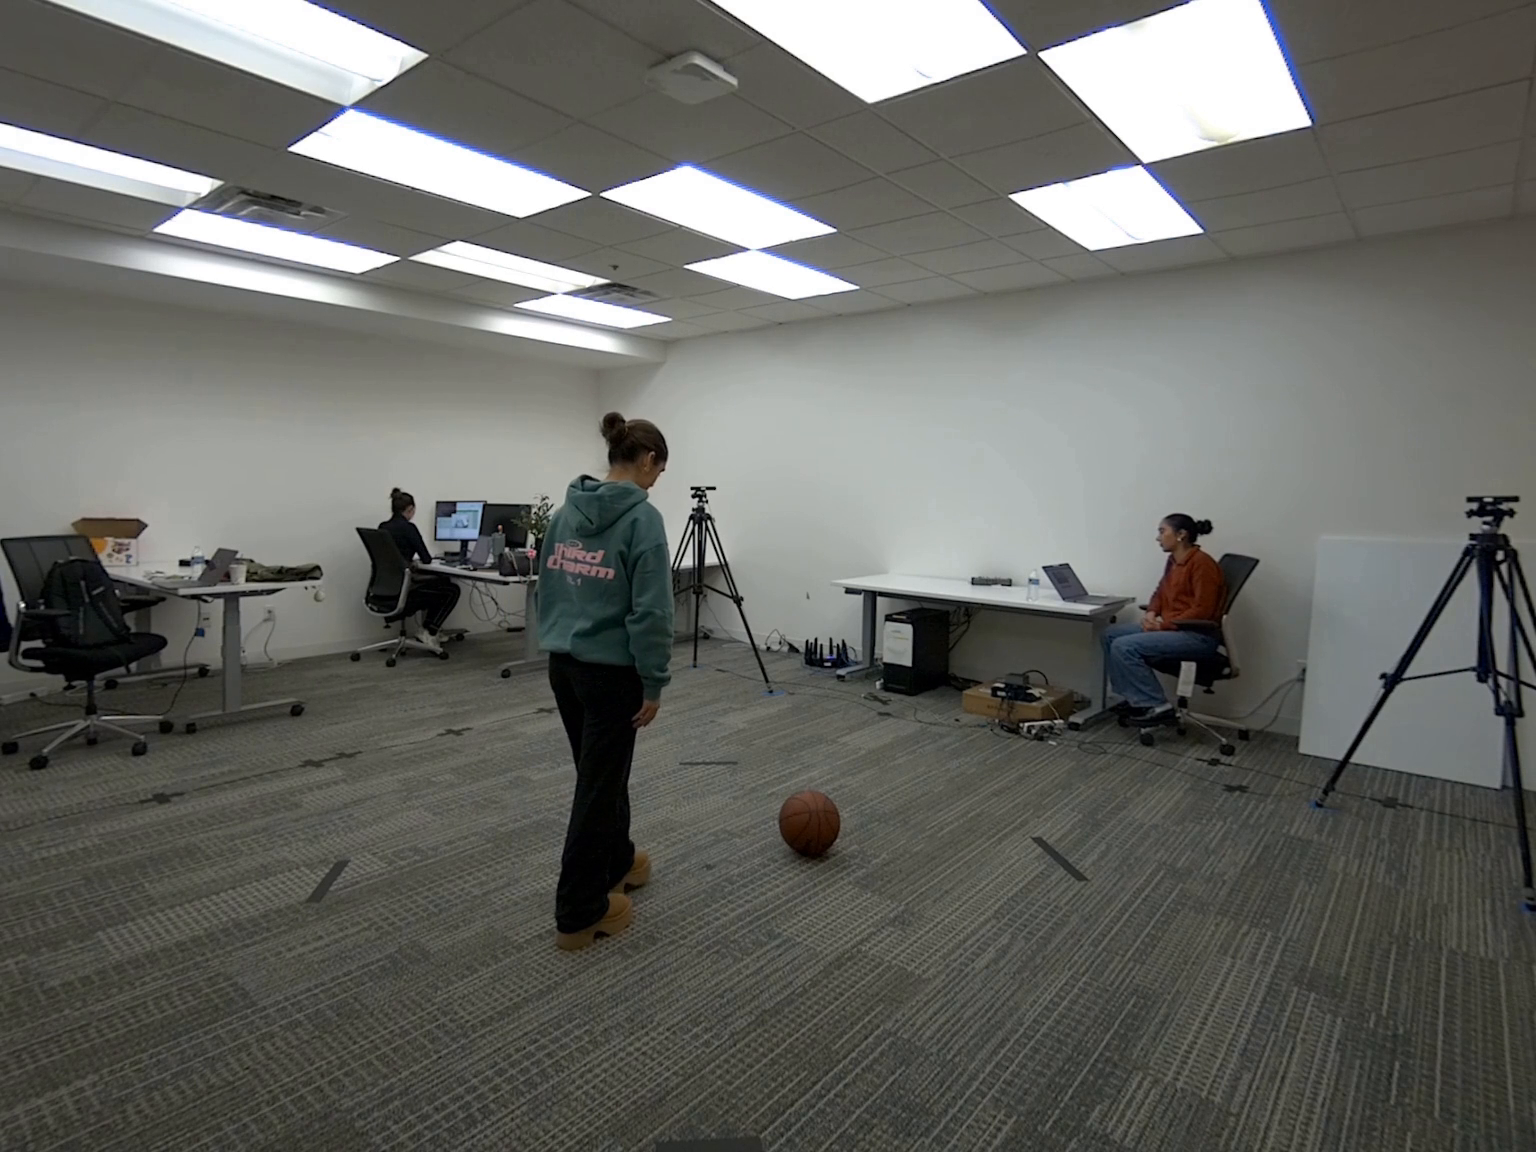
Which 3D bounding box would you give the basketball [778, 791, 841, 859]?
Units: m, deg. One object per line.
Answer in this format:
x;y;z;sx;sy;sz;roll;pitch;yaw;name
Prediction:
0.148;0.936;3.261;0.236;0.235;0.237;1;4;-2;basketball
